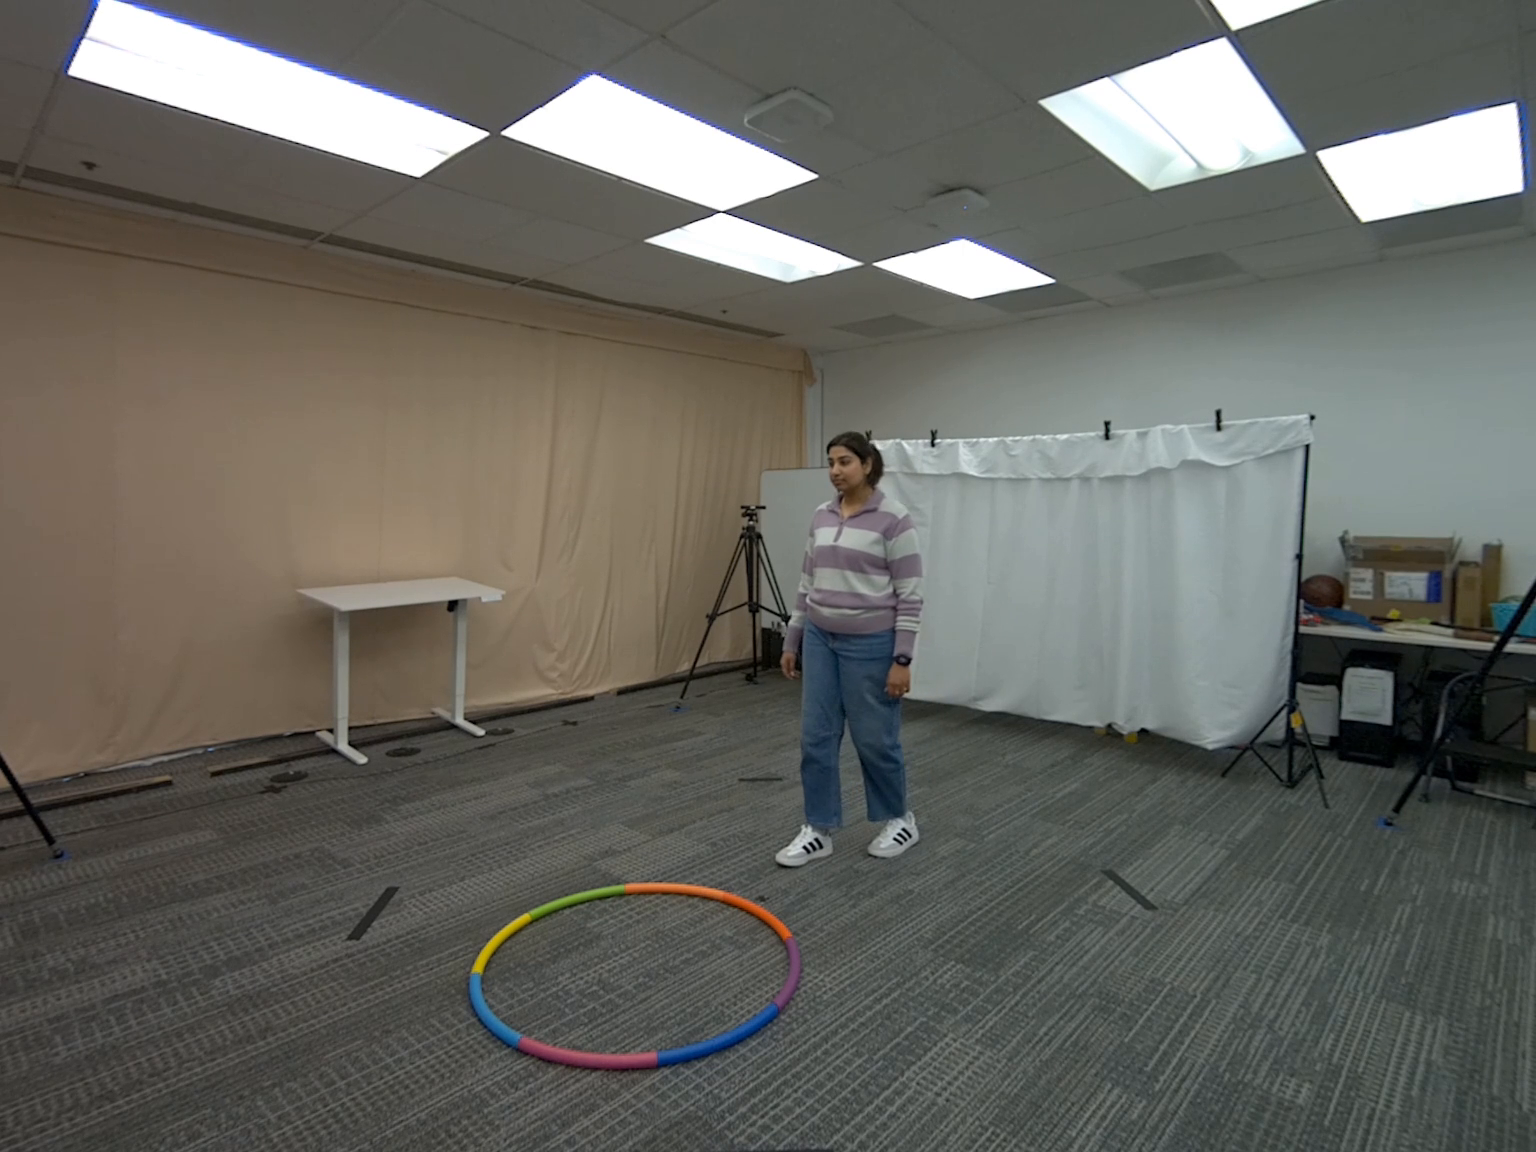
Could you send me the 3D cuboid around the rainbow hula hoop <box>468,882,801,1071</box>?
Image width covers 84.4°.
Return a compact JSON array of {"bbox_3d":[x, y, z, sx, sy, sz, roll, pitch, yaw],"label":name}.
[{"bbox_3d":[-0.393,1.154,2.561,0.978,0.035,0.982,-1,5,-2],"label":"rainbow hula hoop"}]
